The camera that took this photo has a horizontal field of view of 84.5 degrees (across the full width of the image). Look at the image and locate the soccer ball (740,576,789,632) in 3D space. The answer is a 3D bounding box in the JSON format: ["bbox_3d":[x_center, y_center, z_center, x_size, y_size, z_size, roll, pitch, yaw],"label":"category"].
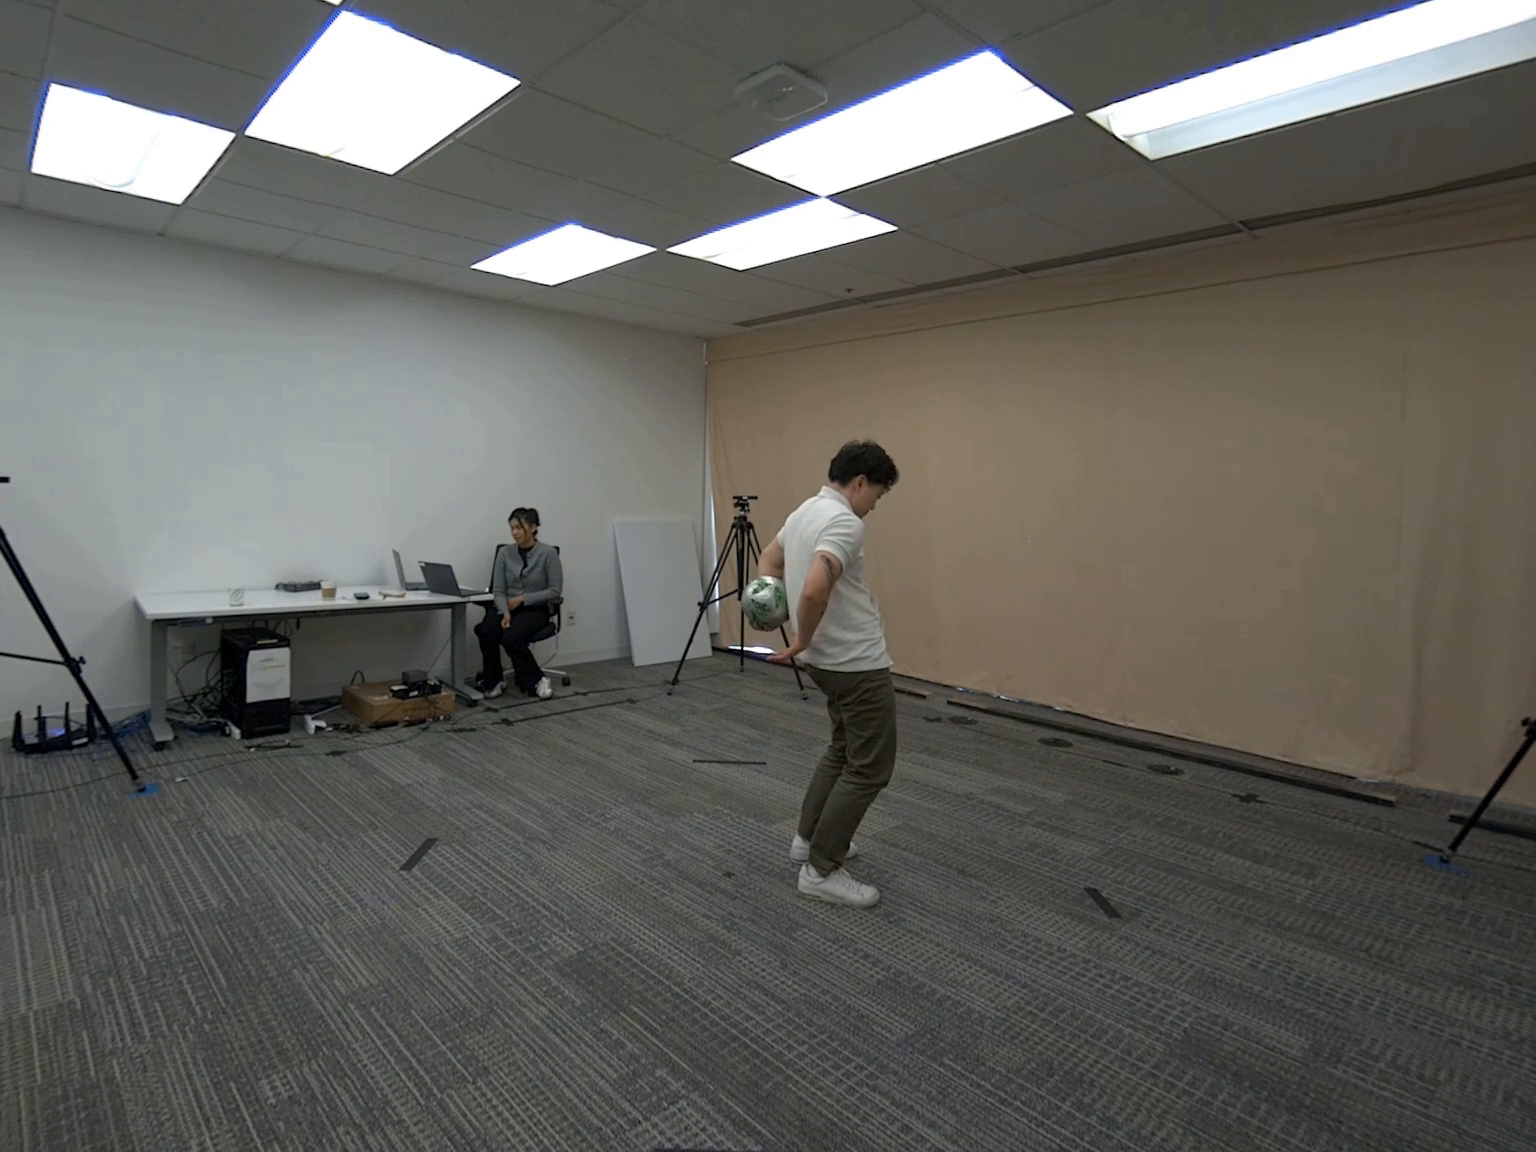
[{"bbox_3d":[-0.010,0.093,3.110,0.187,0.187,0.188,1,4,-1],"label":"soccer ball"}]
